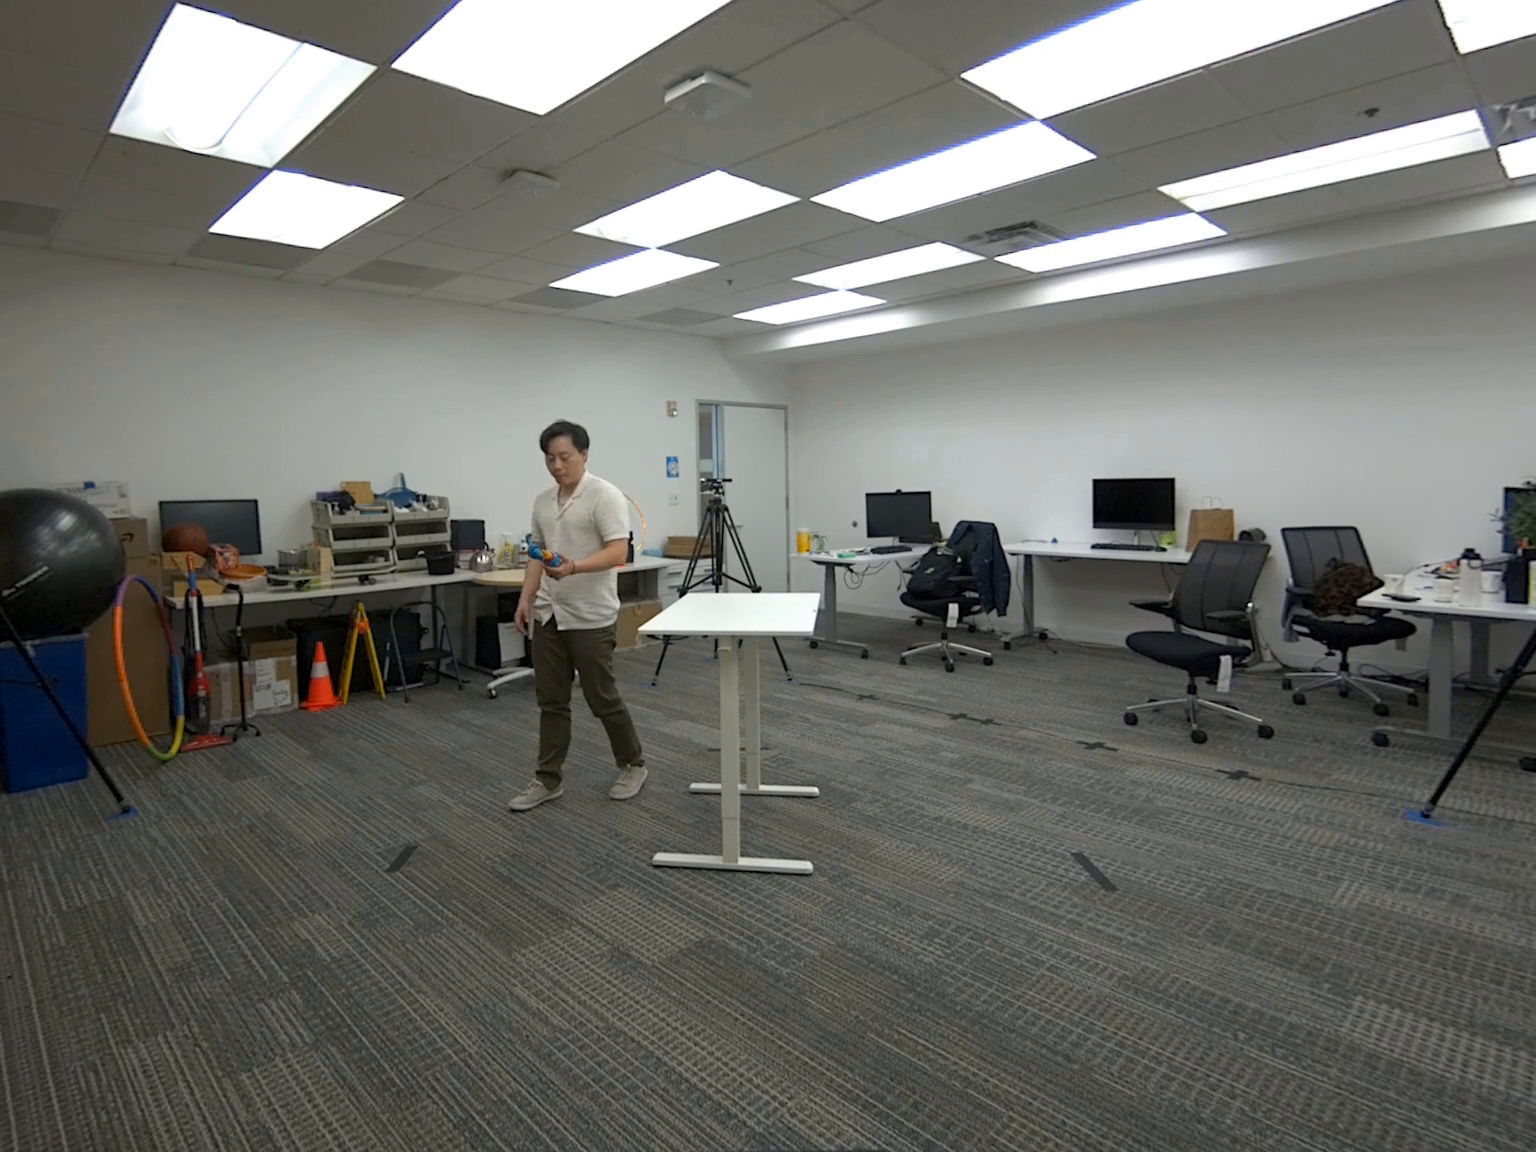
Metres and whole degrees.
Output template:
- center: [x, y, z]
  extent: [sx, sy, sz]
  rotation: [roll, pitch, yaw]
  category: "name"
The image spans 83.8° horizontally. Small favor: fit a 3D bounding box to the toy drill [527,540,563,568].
- center: [-0.896, -0.090, 3.405]
  extent: [0.150, 0.061, 0.165]
  rotation: [27, -11, 20]
  category: "toy drill"
